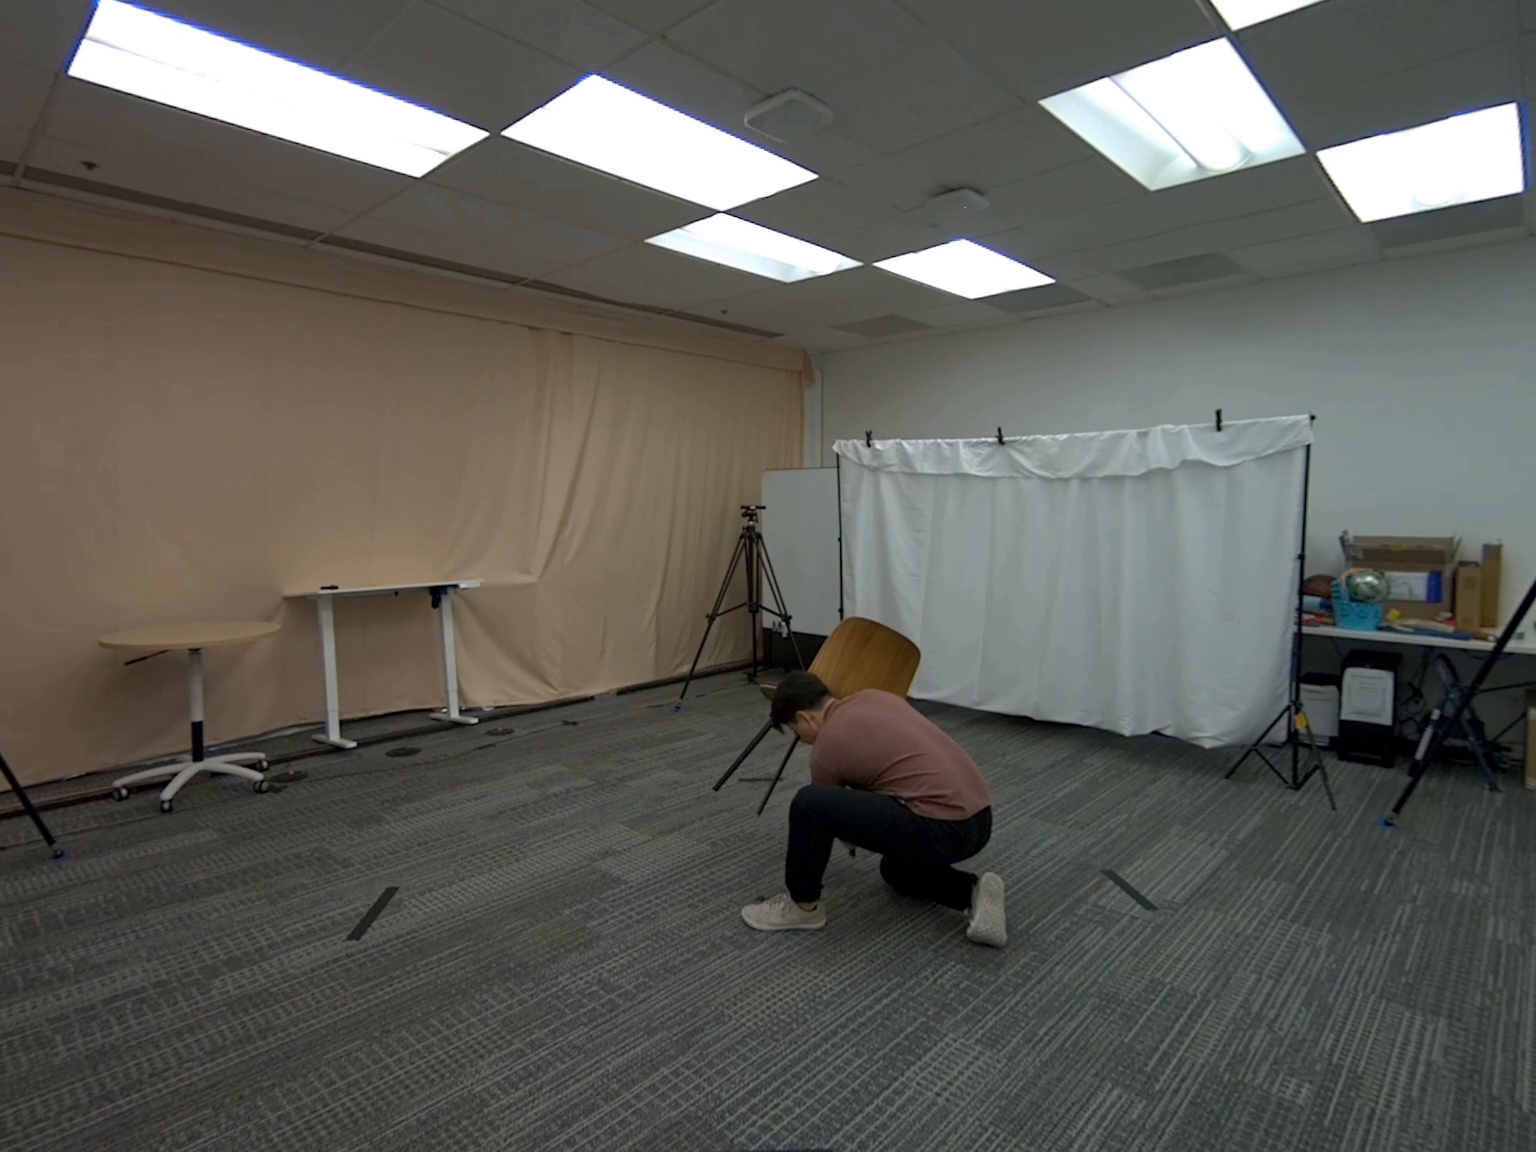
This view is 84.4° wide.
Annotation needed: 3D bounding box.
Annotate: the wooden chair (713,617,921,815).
[{"bbox_3d":[0.214,0.599,3.431,0.468,0.878,0.534,28,-10,-19],"label":"wooden chair"}]
